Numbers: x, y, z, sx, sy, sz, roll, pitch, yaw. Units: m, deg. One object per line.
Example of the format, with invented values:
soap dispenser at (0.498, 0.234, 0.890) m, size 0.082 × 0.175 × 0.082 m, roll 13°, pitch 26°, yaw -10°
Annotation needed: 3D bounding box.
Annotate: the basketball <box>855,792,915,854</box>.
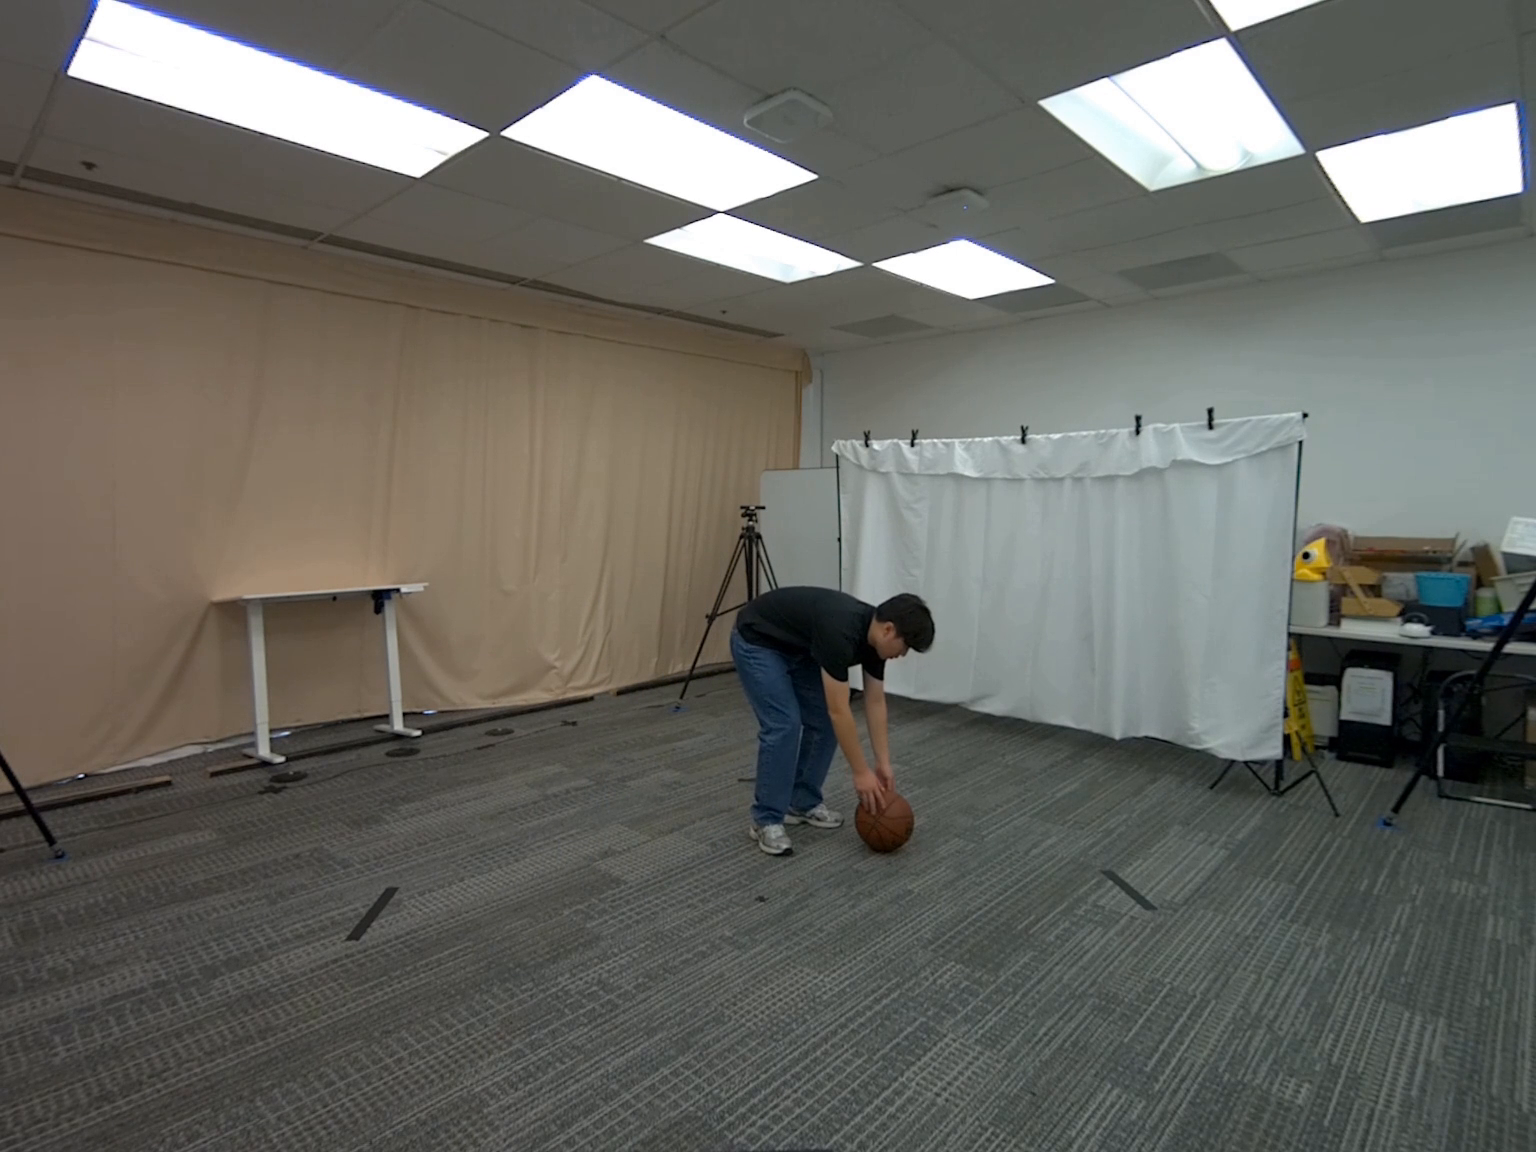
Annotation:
basketball at (0.471, 0.987, 3.410) m, size 0.236 × 0.235 × 0.237 m, roll 0°, pitch 4°, yaw -2°
